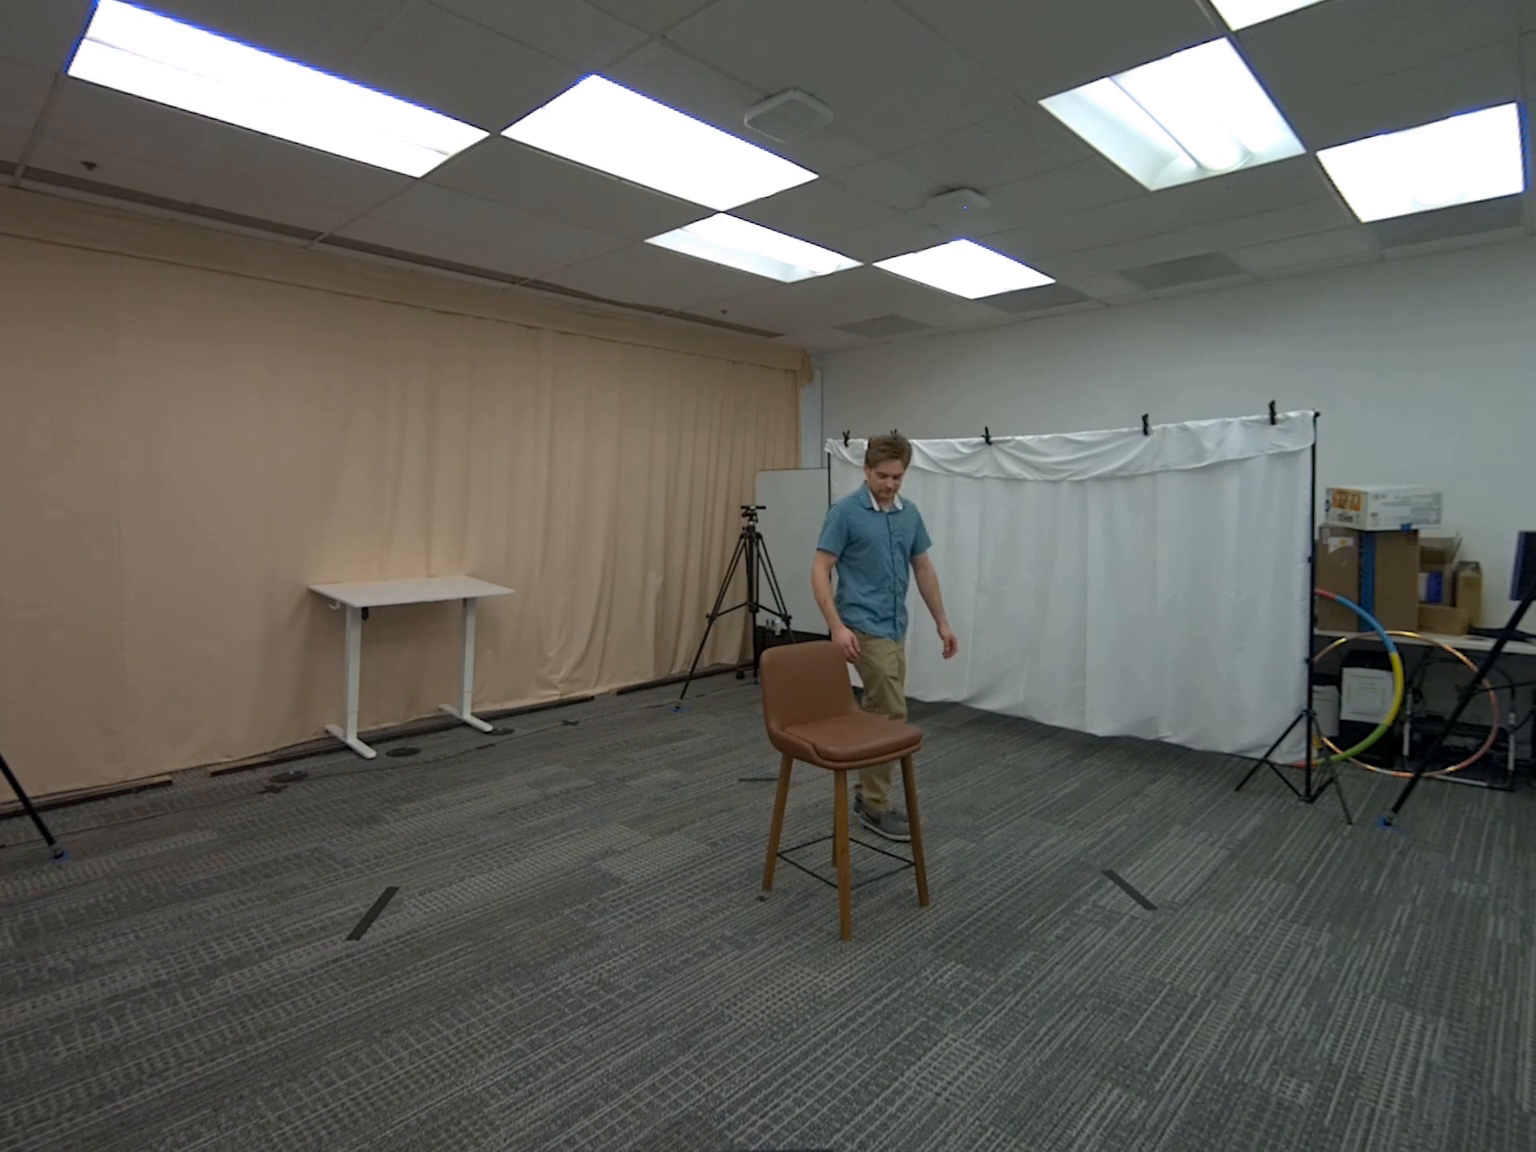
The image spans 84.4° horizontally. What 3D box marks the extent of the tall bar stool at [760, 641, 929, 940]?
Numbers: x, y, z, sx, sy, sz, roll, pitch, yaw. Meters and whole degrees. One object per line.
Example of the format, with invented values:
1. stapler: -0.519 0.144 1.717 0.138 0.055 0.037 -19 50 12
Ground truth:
1. tall bar stool: 0.259 0.710 2.968 0.443 0.888 0.482 -3 2 -38
